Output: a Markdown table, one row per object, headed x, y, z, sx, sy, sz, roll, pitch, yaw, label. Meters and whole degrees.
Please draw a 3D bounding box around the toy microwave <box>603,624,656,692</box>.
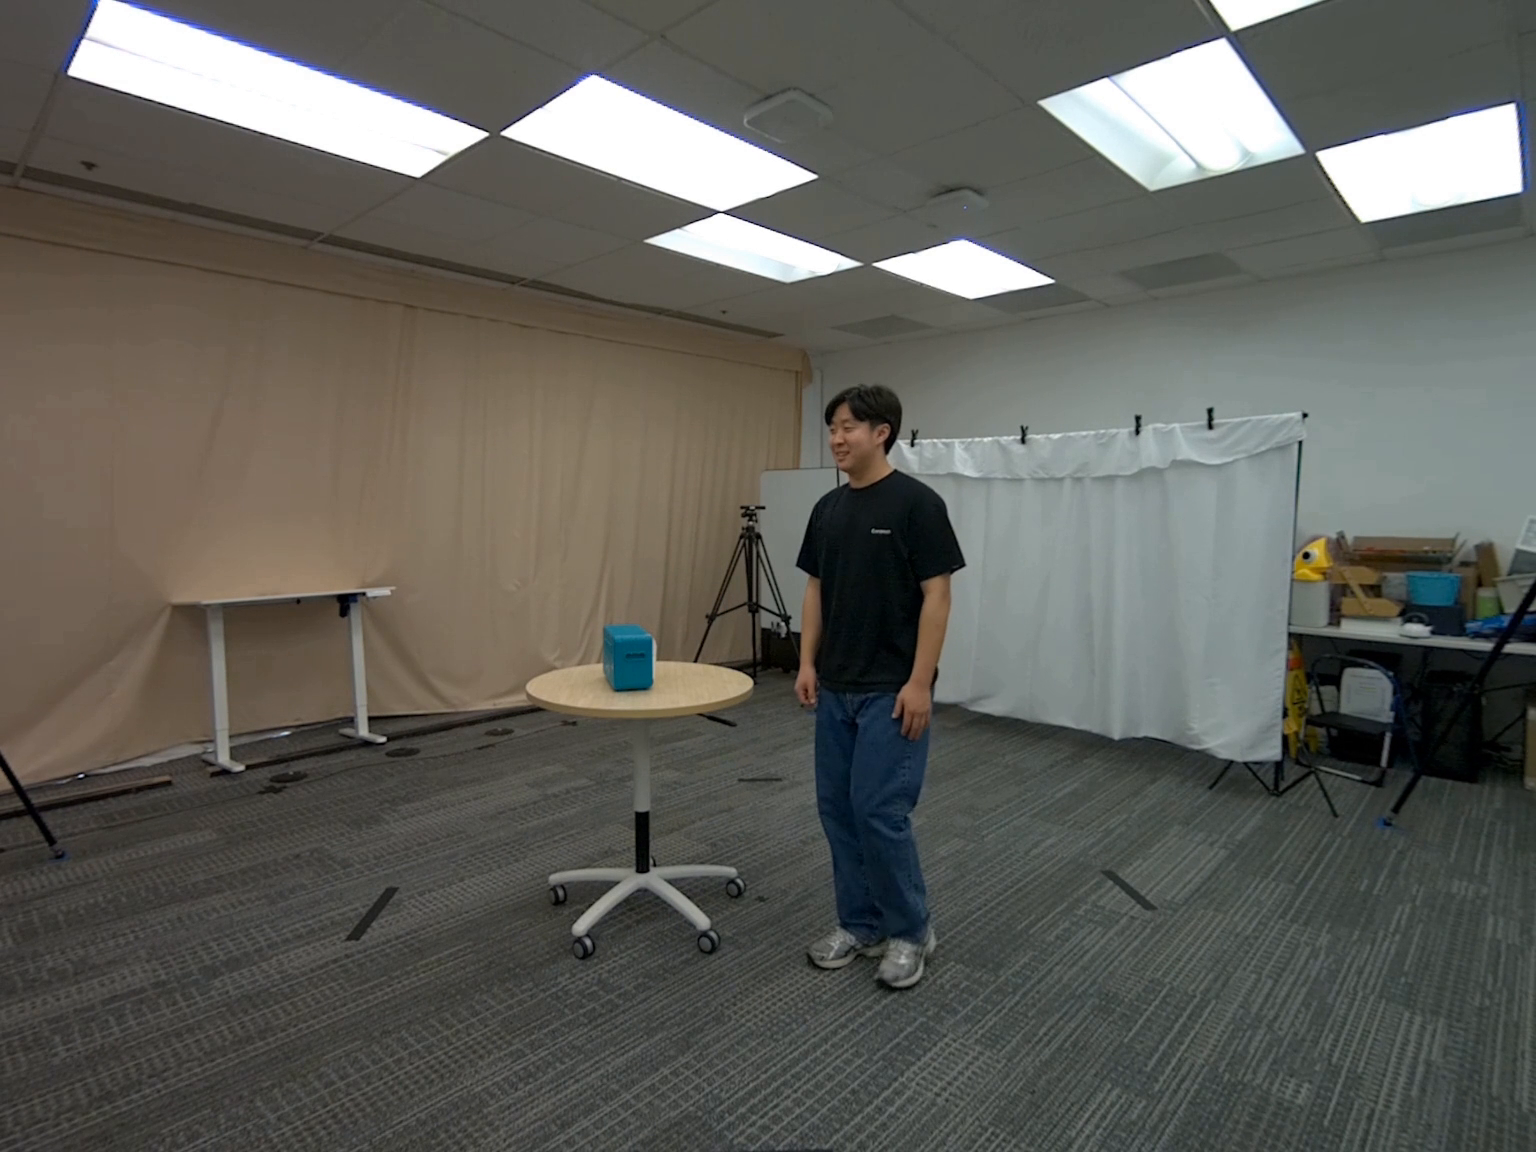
| x | y | z | sx | sy | sz | roll | pitch | yaw | label |
| --- | --- | --- | --- | --- | --- | --- | --- | --- | --- |
| -0.468 | 0.270 | 2.840 | 0.150 | 0.184 | 0.291 | 0 | 4 | -15 | toy microwave |
